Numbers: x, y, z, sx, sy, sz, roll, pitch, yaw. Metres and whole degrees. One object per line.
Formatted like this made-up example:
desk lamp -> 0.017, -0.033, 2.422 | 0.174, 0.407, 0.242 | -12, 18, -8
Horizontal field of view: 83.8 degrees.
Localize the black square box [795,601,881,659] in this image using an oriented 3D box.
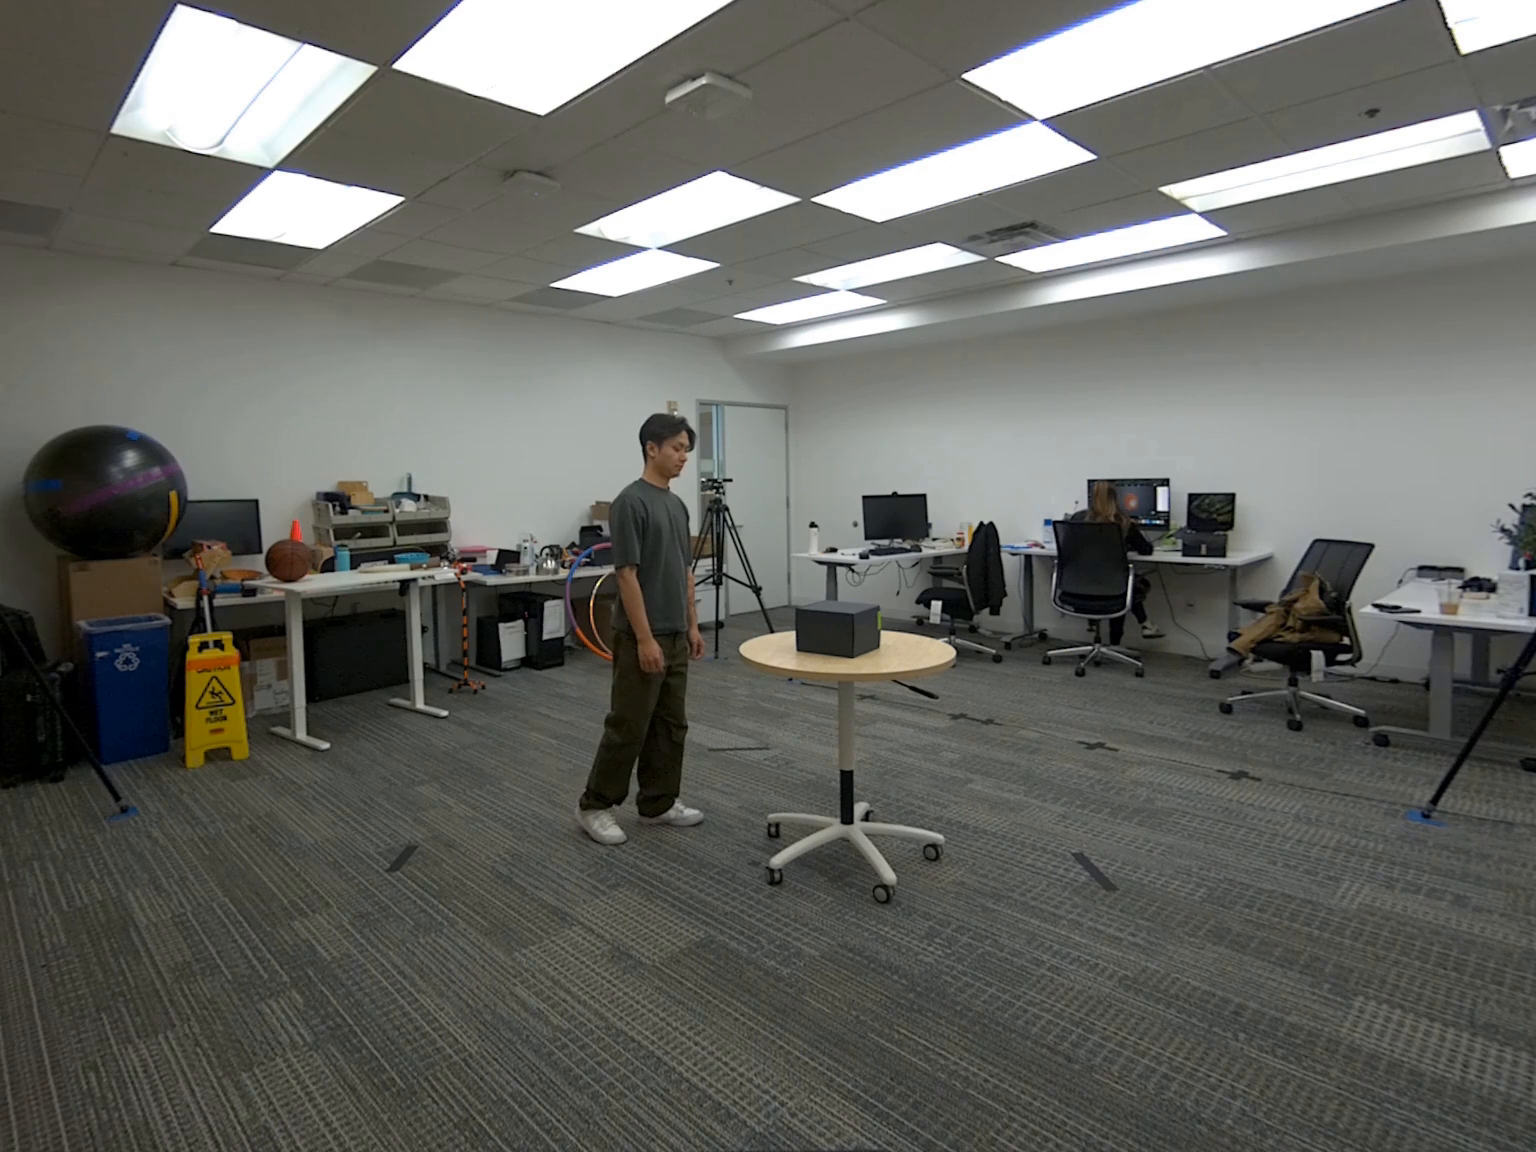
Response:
black square box -> 0.254, 0.182, 3.042 | 0.234, 0.155, 0.212 | 3, 7, 34
